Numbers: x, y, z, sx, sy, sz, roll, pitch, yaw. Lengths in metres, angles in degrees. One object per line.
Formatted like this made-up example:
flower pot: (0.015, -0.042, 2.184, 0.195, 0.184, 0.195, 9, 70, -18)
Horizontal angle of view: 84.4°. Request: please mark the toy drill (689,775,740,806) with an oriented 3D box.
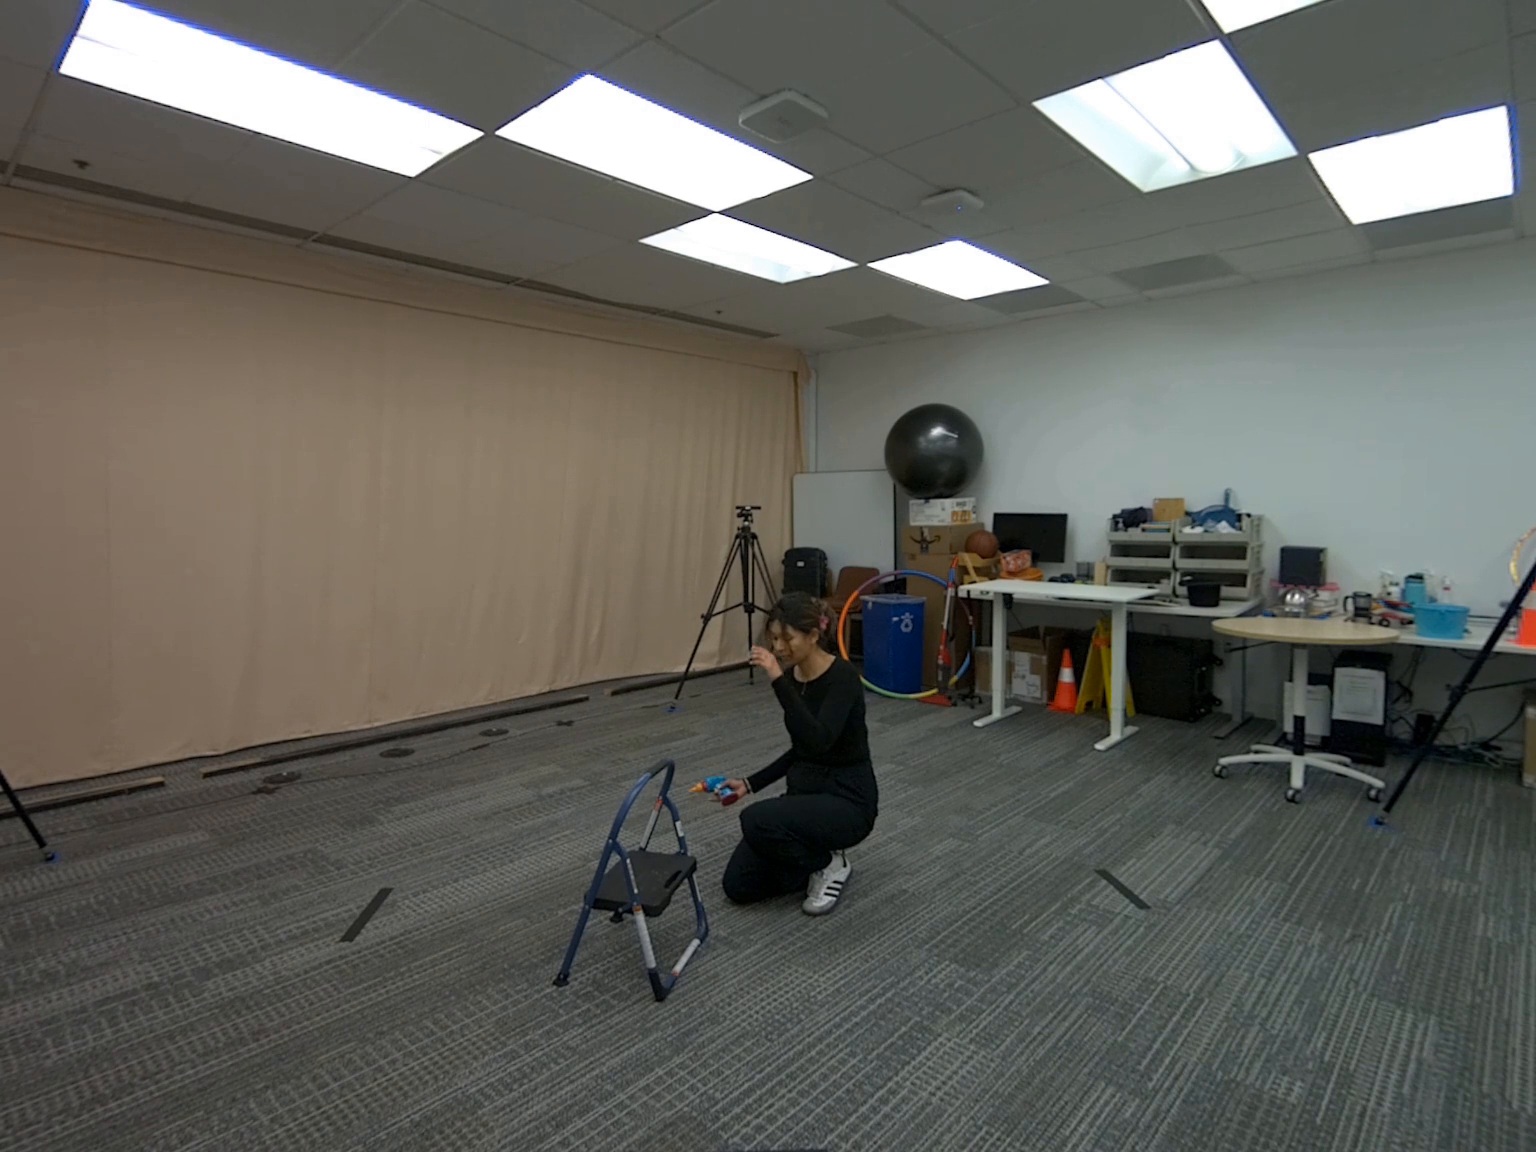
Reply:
toy drill: (-0.207, 0.832, 3.242, 0.166, 0.060, 0.151, -9, 24, -27)
